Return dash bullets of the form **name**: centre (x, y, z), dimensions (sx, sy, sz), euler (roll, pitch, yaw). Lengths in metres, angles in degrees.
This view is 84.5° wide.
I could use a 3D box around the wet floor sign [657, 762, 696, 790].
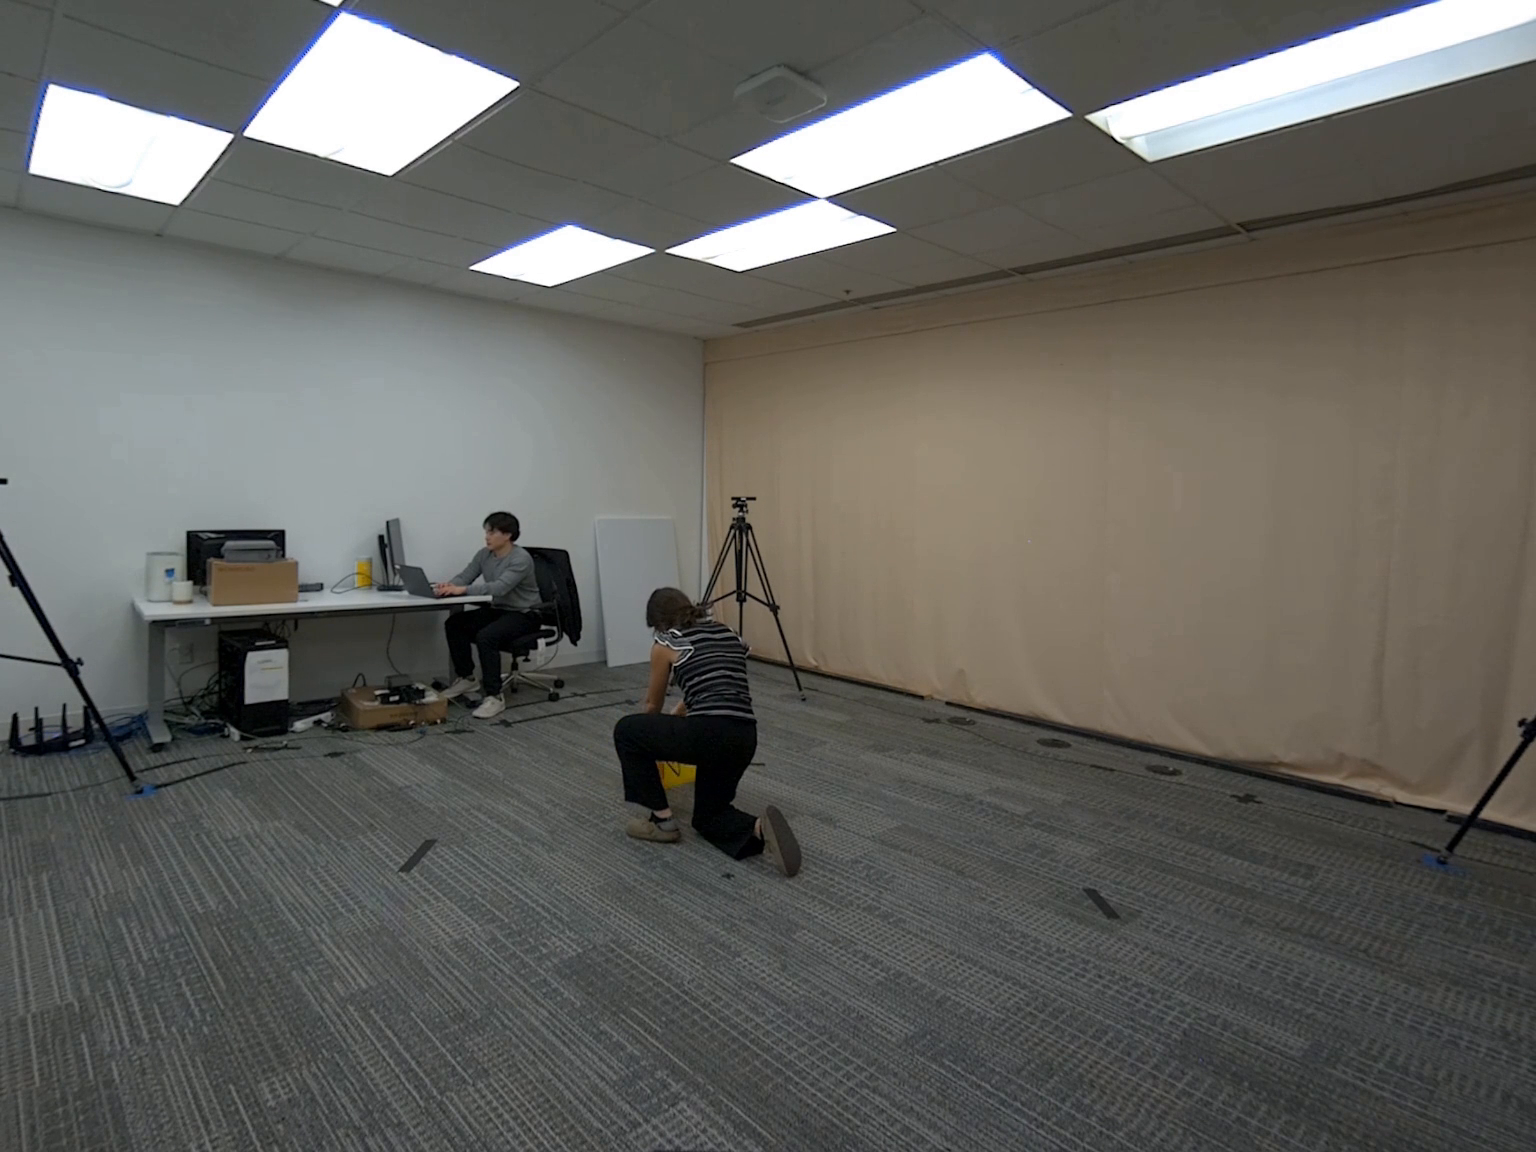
- **wet floor sign**: centre (-0.506, 0.845, 3.891), dimensions (0.291, 0.283, 0.639), euler (-2, -4, 7)
